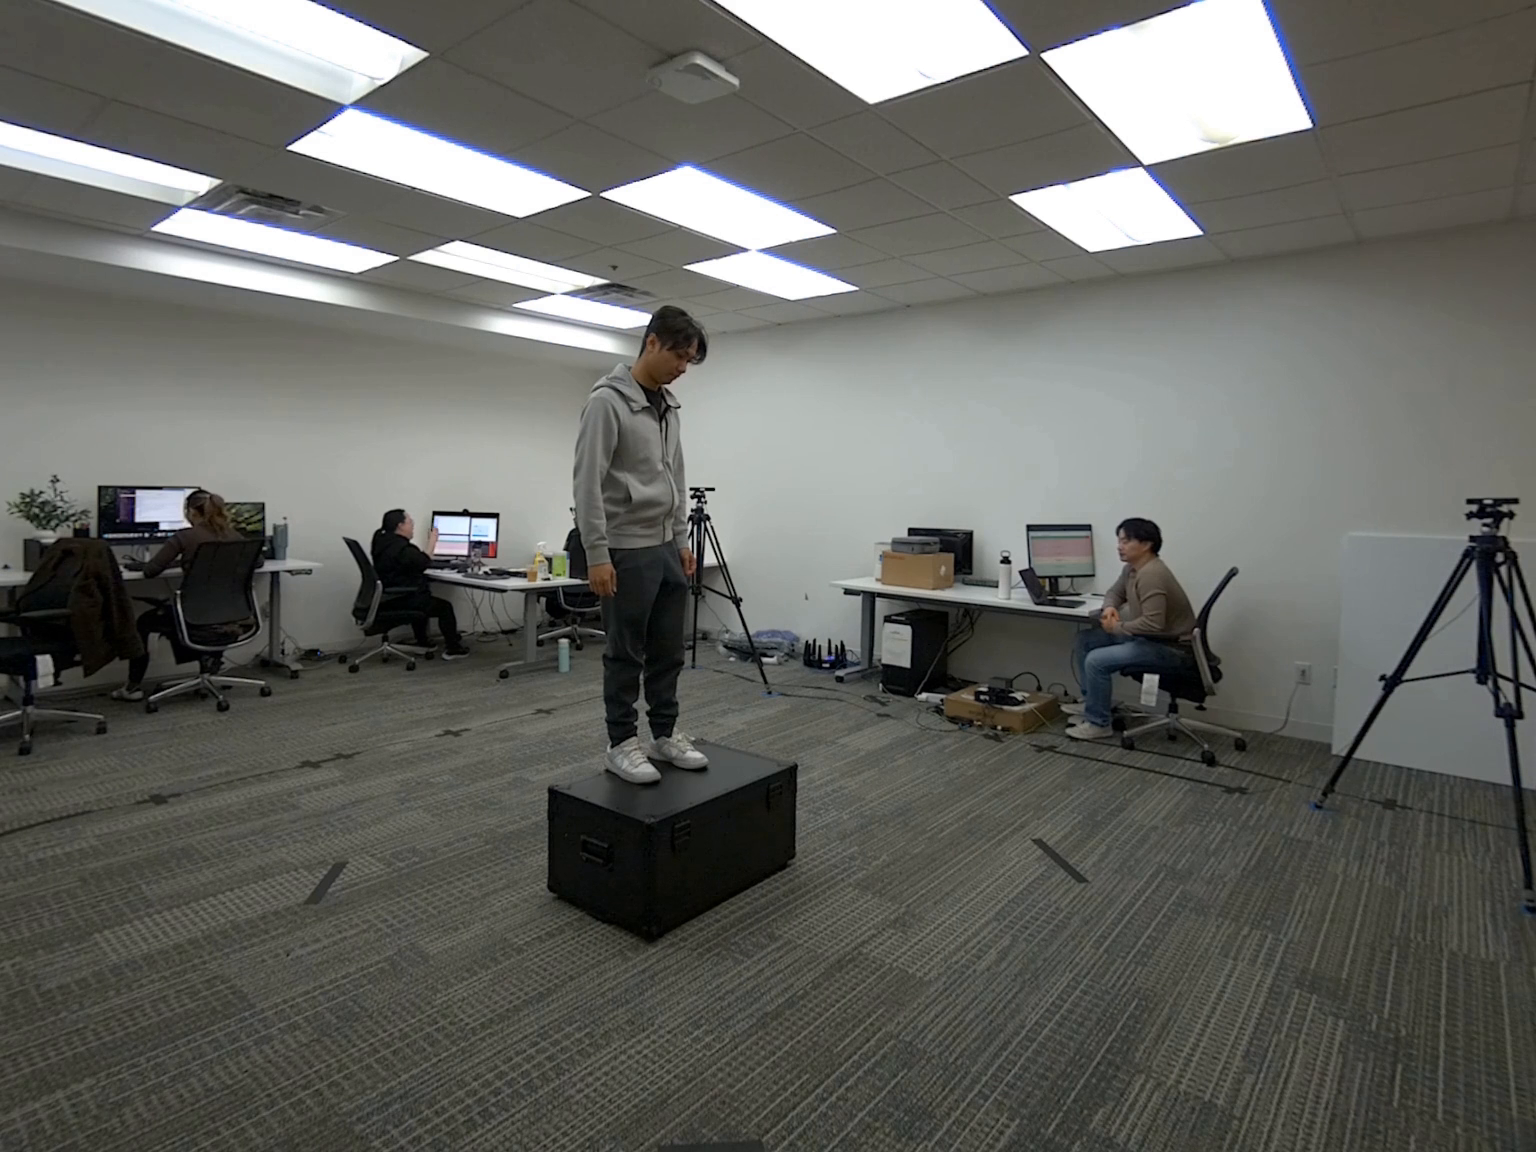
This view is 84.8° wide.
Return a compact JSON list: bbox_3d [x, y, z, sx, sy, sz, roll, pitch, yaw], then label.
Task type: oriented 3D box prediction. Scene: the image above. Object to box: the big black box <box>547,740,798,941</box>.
[{"bbox_3d":[-0.307,0.882,3.031,0.538,0.395,0.837,4,6,37],"label":"big black box"}]
